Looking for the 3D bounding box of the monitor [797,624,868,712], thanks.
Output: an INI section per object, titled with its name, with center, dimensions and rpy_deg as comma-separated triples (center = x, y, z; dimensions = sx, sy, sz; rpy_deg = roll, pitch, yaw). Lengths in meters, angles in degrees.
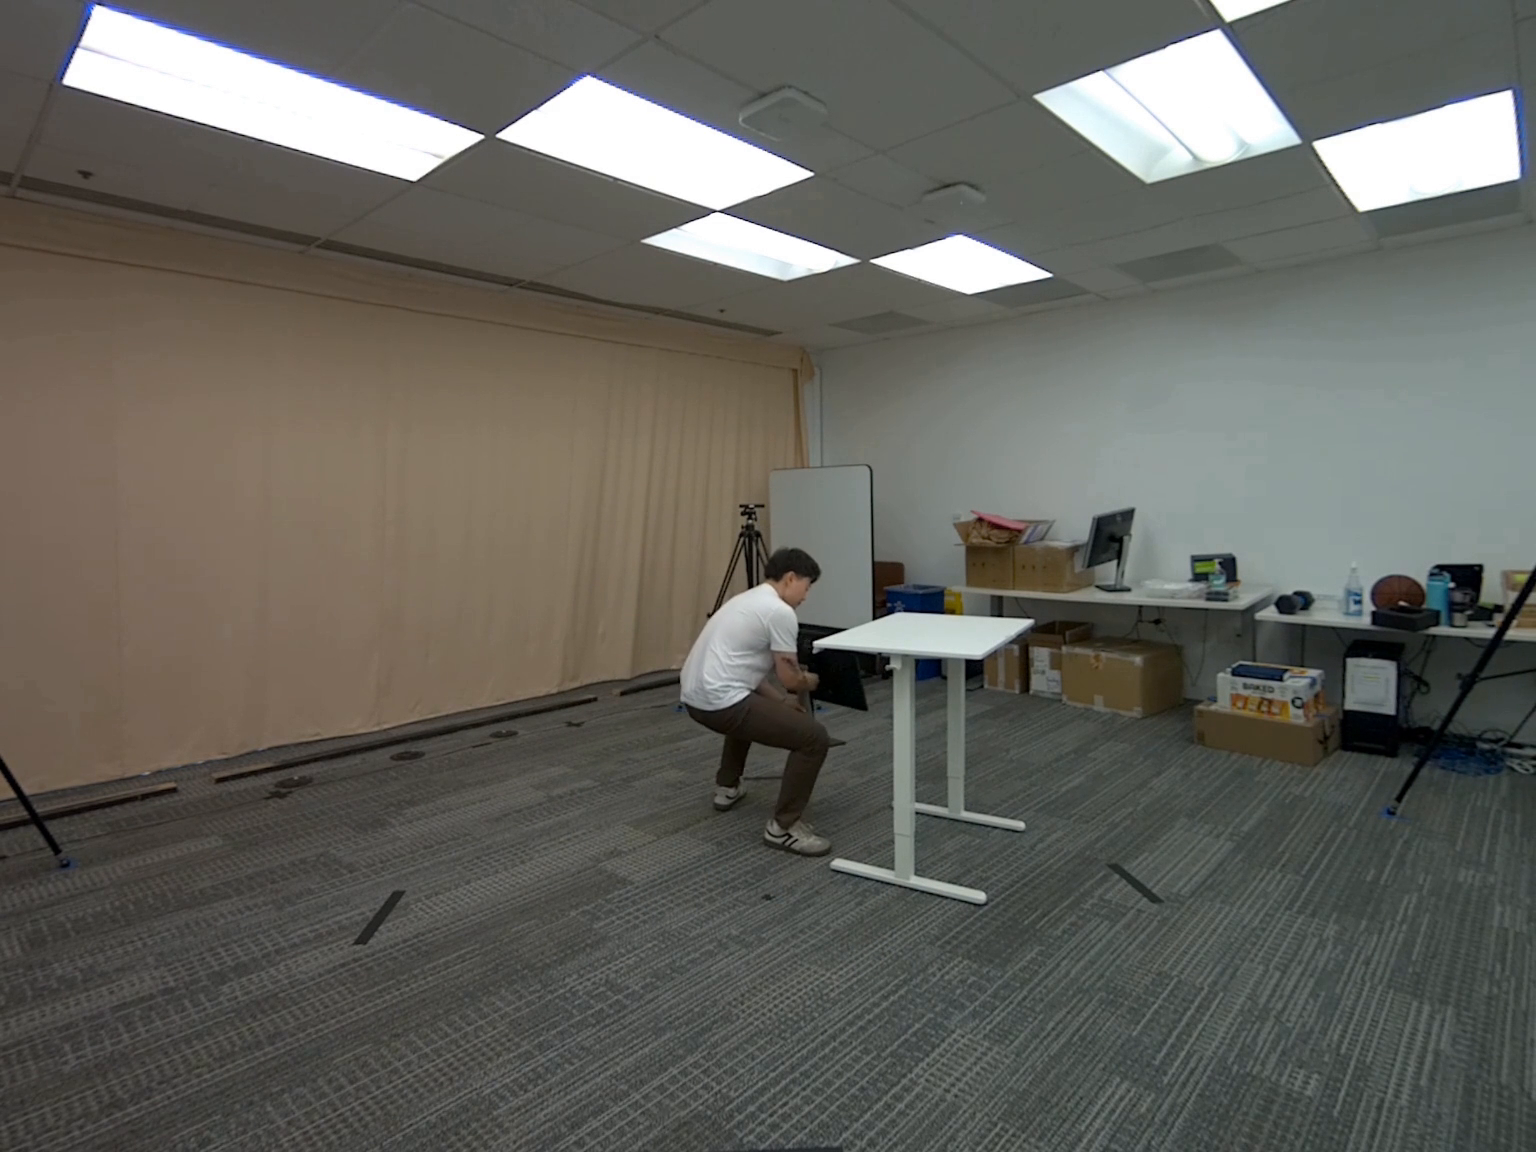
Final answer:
[monitor]
center = 0.212, 0.514, 3.914
dimensions = 0.181, 0.522, 0.557
rpy_deg = -2, 4, -42
